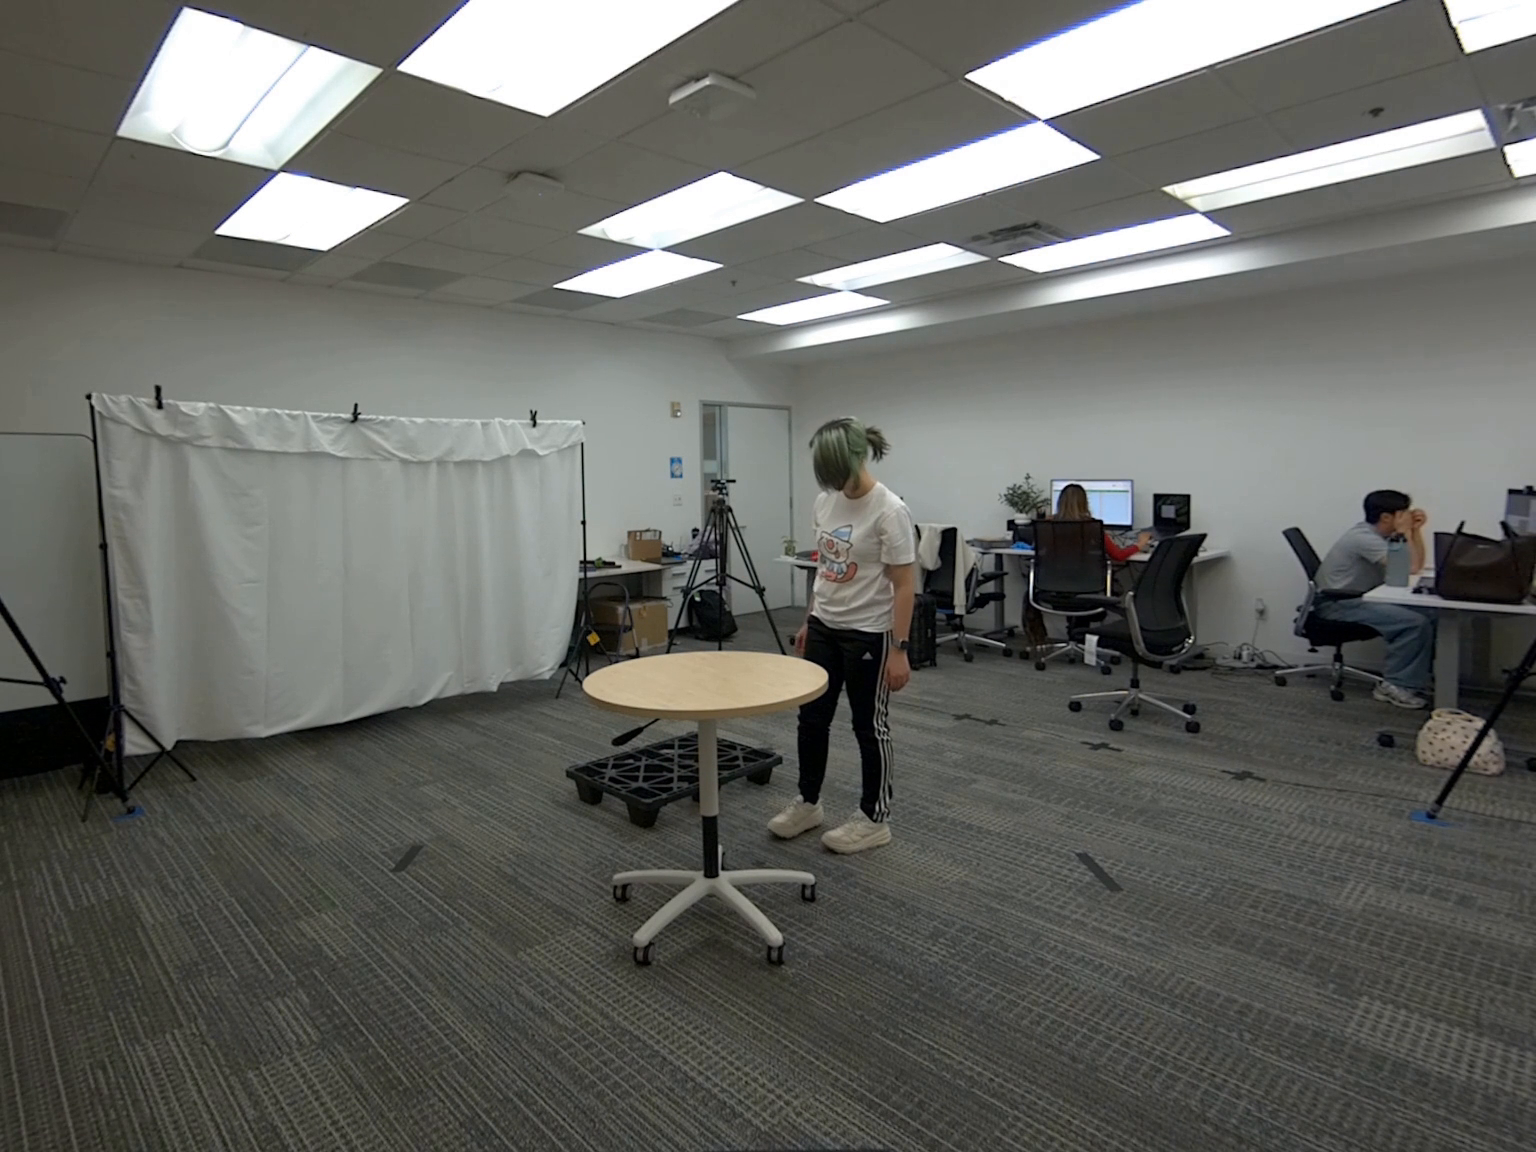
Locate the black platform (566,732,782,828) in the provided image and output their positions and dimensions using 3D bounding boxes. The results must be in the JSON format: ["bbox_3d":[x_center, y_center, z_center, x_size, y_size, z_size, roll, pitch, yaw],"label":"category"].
[{"bbox_3d":[-0.415,0.905,3.857,0.623,0.143,0.784,4,8,45],"label":"black platform"}]
